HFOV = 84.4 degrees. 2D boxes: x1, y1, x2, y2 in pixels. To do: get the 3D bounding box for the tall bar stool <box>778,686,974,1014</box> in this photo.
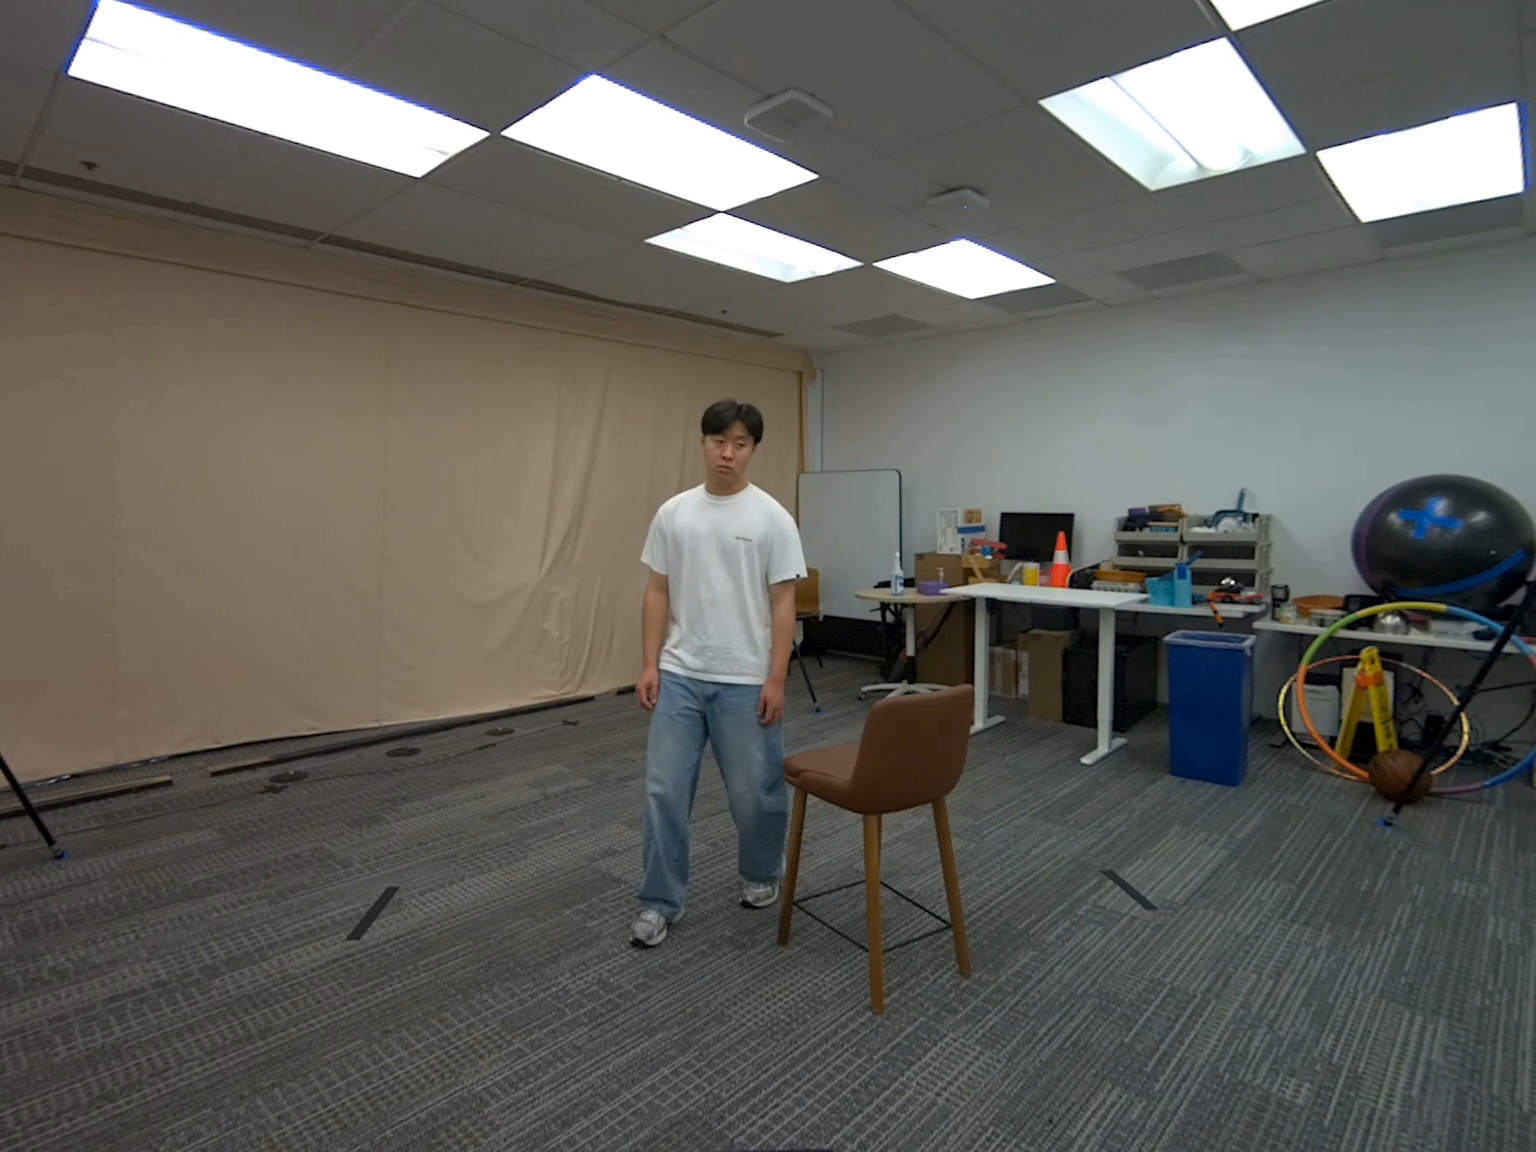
[{"bbox_3d":[0.333,0.740,2.560,0.443,0.887,0.482,-2,5,-34],"label":"tall bar stool"}]
